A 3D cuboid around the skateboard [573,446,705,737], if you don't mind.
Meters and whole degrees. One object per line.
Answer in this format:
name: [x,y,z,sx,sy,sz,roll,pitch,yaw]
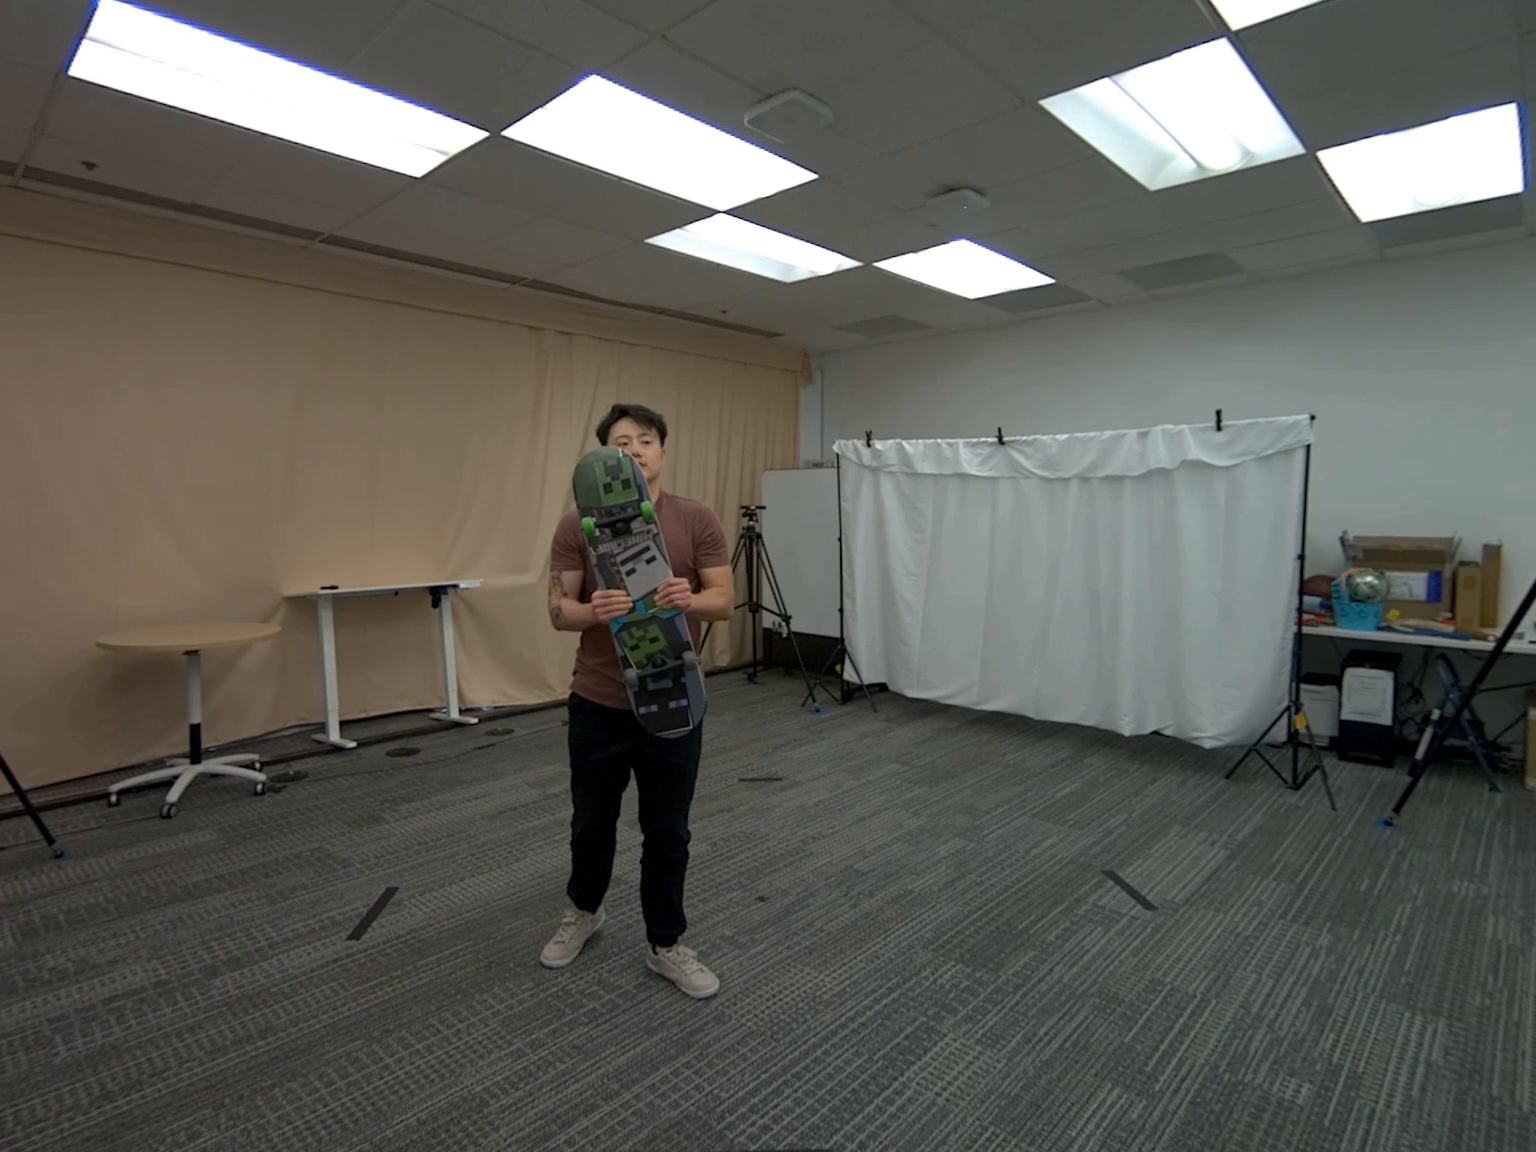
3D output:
skateboard: [-0.343,0.050,2.168,0.192,0.783,0.111,-15,3,-8]
